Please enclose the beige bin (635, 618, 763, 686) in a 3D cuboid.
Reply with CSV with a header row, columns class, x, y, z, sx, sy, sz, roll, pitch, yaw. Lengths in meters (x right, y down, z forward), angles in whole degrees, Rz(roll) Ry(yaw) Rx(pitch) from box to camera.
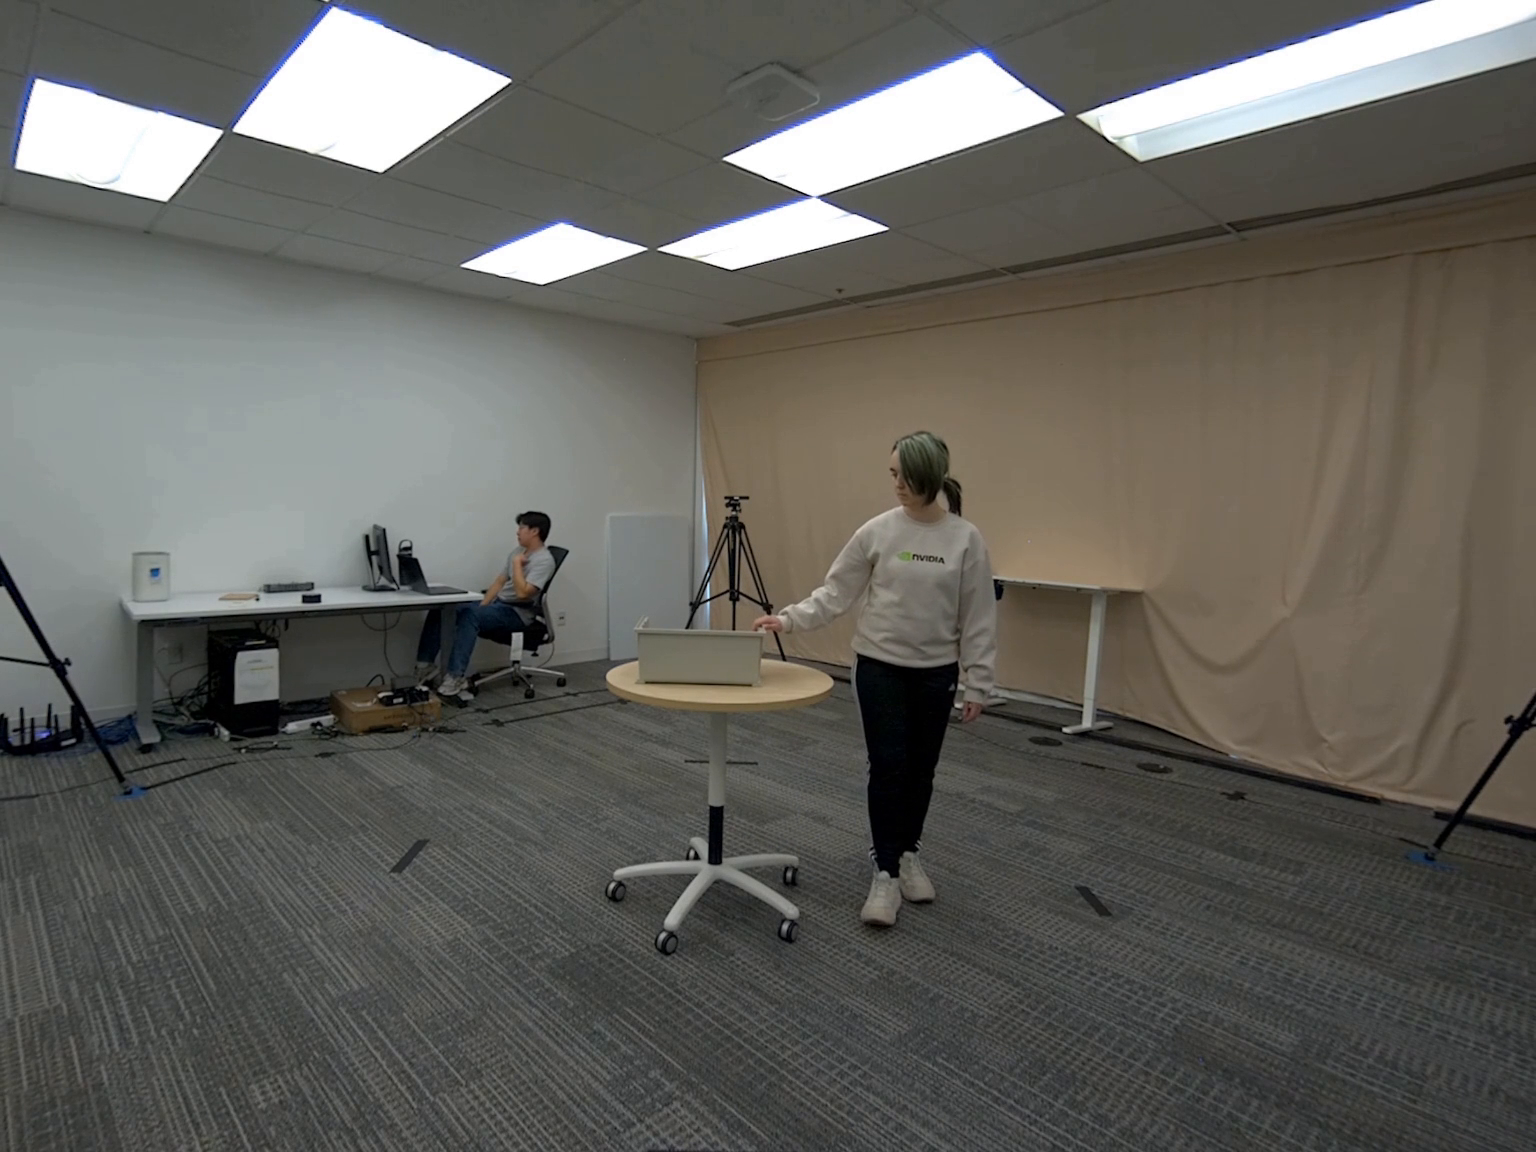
class,x,y,z,sx,sy,sz,roll,pitch,yaw
beige bin,-0.237,0.246,2.875,0.422,0.188,0.379,2,6,-2
